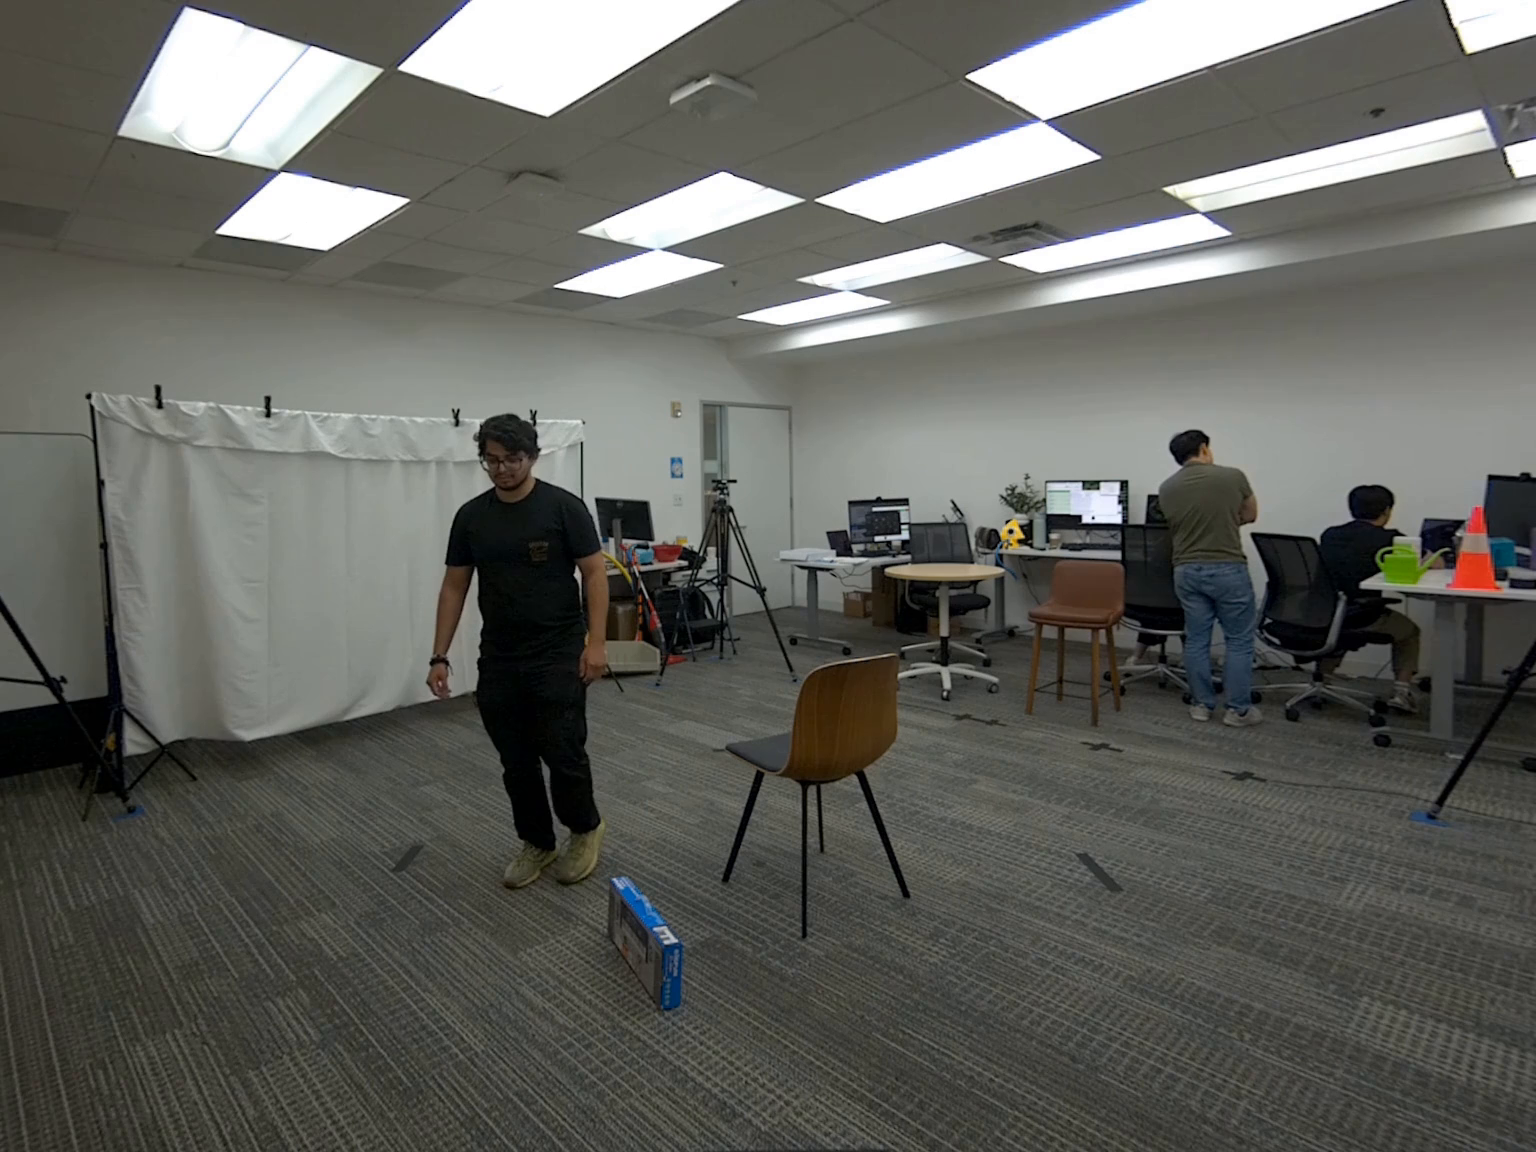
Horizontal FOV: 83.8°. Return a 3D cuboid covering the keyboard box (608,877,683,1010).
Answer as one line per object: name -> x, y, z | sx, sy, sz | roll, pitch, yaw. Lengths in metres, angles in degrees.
keyboard box -> -0.358, 1.047, 2.455 | 0.058, 0.175, 0.449 | 1, 5, -29
